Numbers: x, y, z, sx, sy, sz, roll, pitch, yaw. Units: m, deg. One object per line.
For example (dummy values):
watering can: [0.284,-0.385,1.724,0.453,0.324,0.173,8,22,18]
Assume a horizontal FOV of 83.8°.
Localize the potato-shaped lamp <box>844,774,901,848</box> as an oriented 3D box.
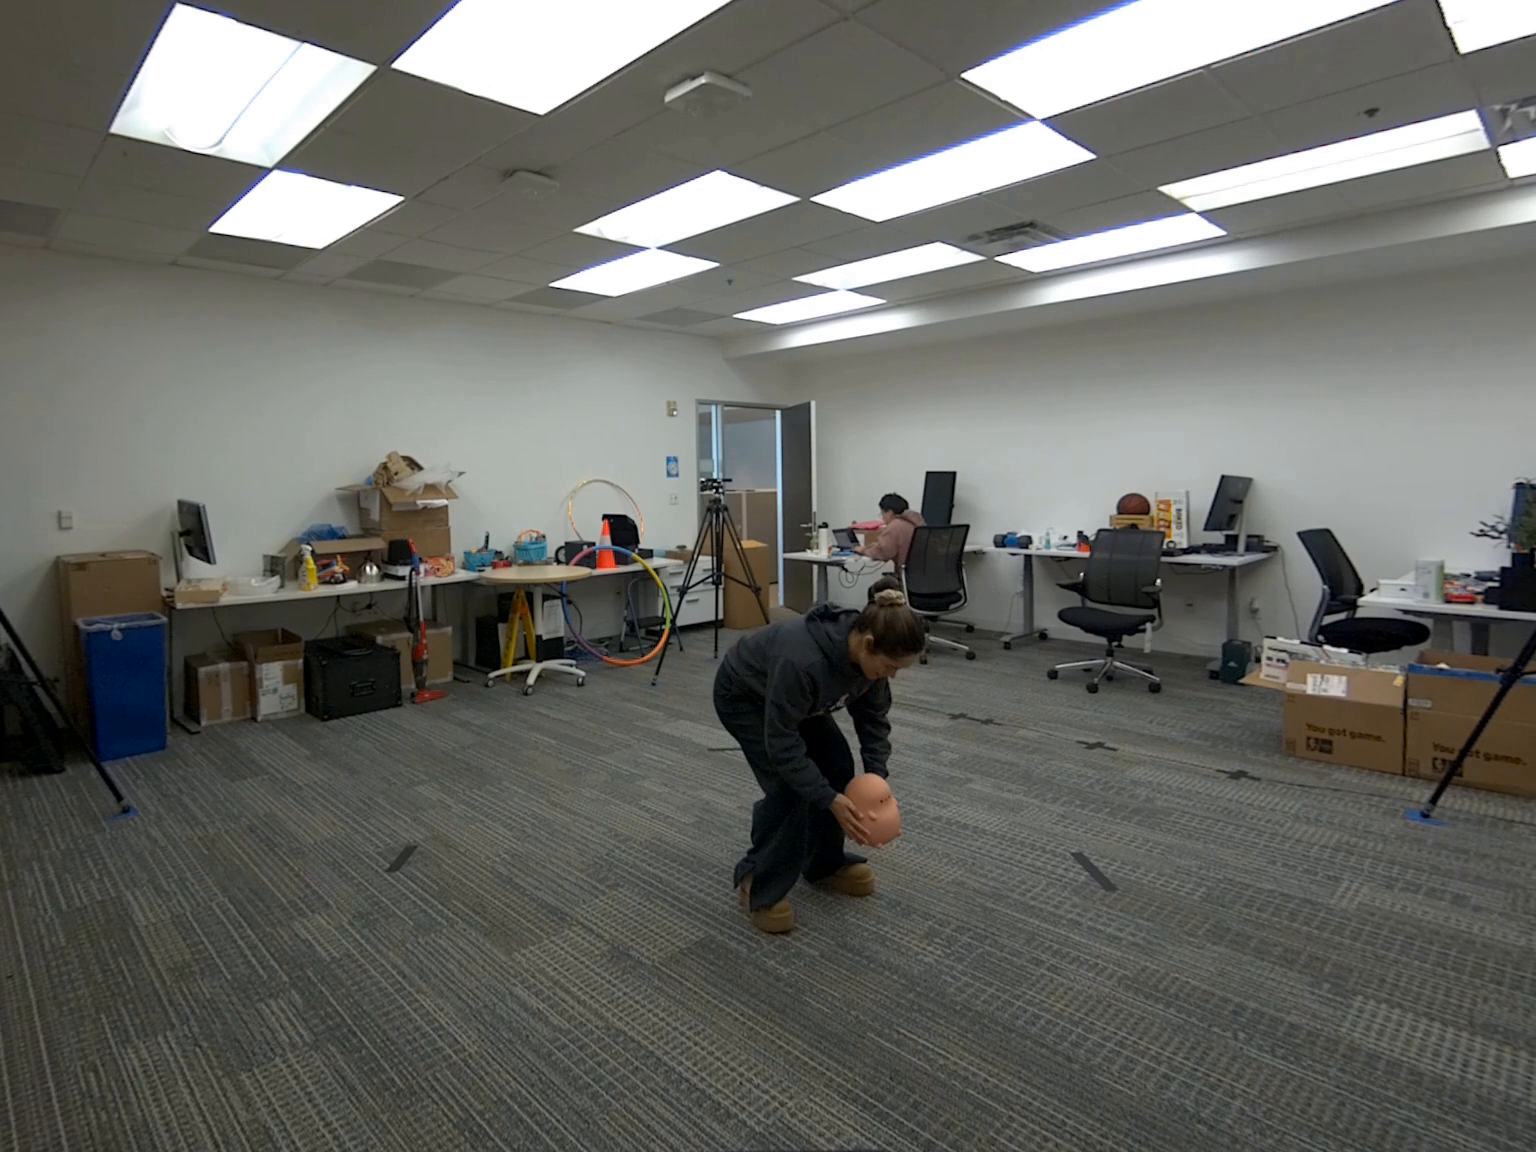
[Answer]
potato-shaped lamp: [0.308,0.700,2.576,0.161,0.196,0.177,-13,14,-42]
